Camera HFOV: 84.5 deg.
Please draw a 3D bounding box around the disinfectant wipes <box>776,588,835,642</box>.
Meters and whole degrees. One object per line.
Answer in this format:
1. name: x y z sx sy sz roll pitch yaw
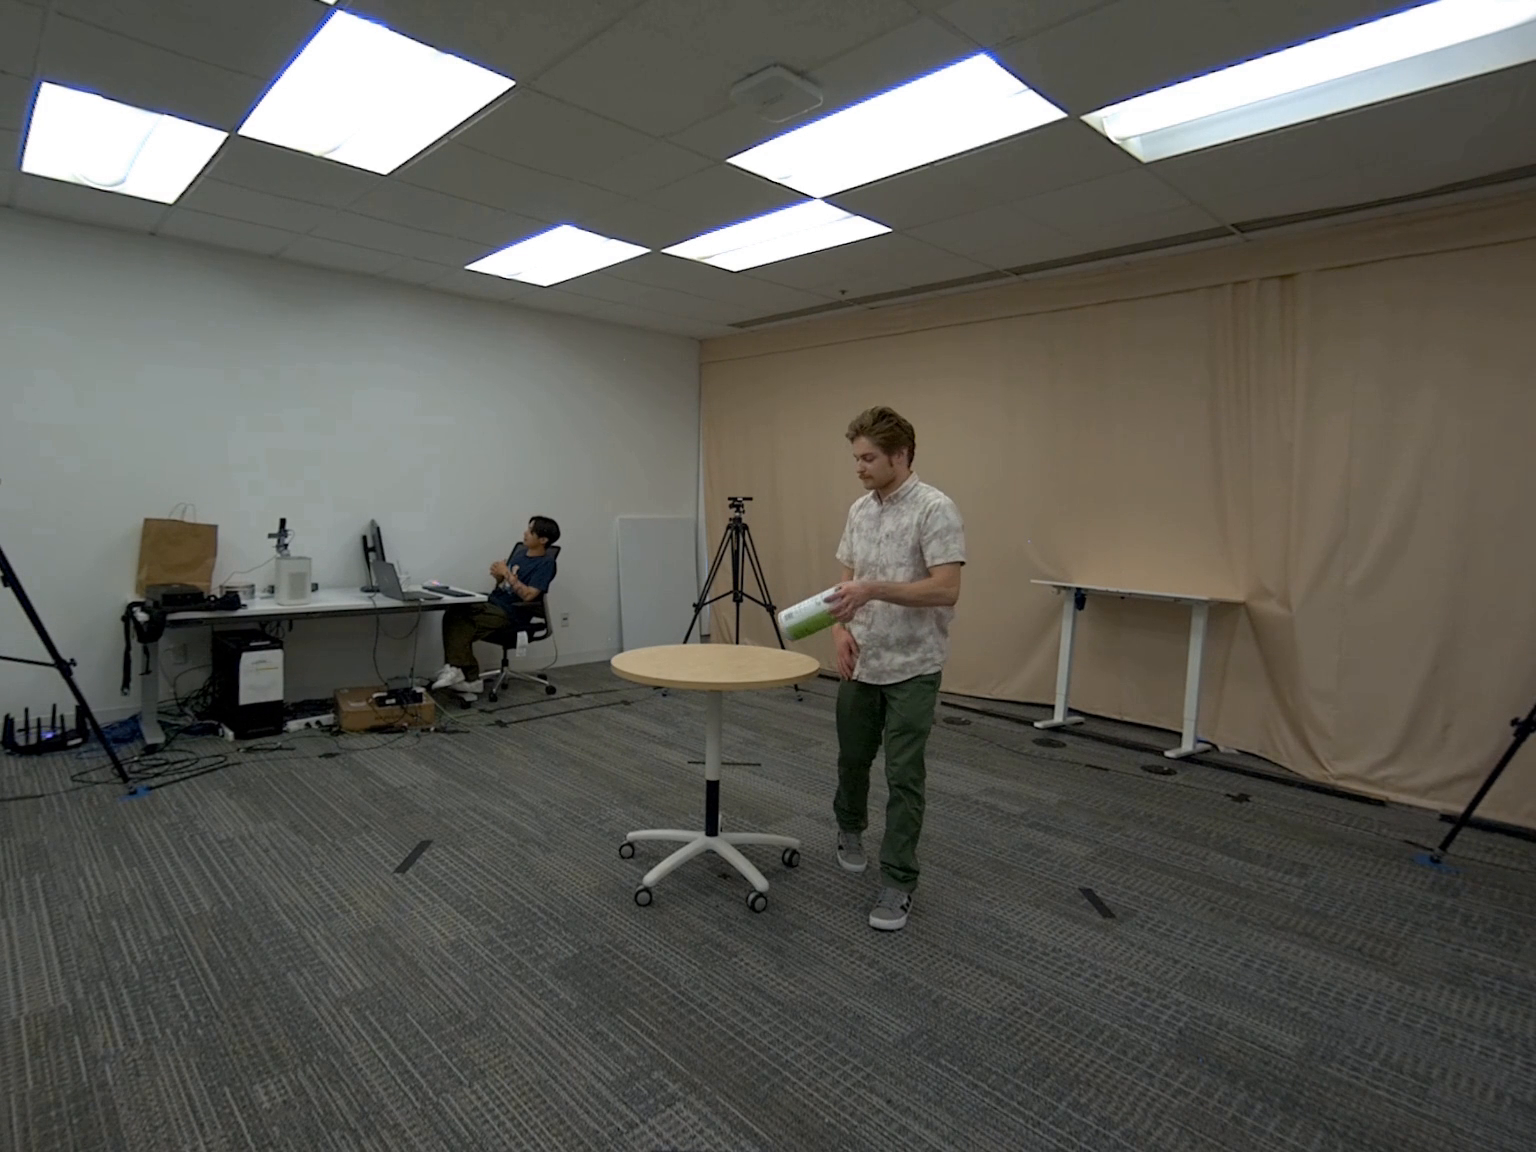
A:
1. disinfectant wipes: 0.133 0.125 2.721 0.219 0.119 0.116 -29 -7 21
